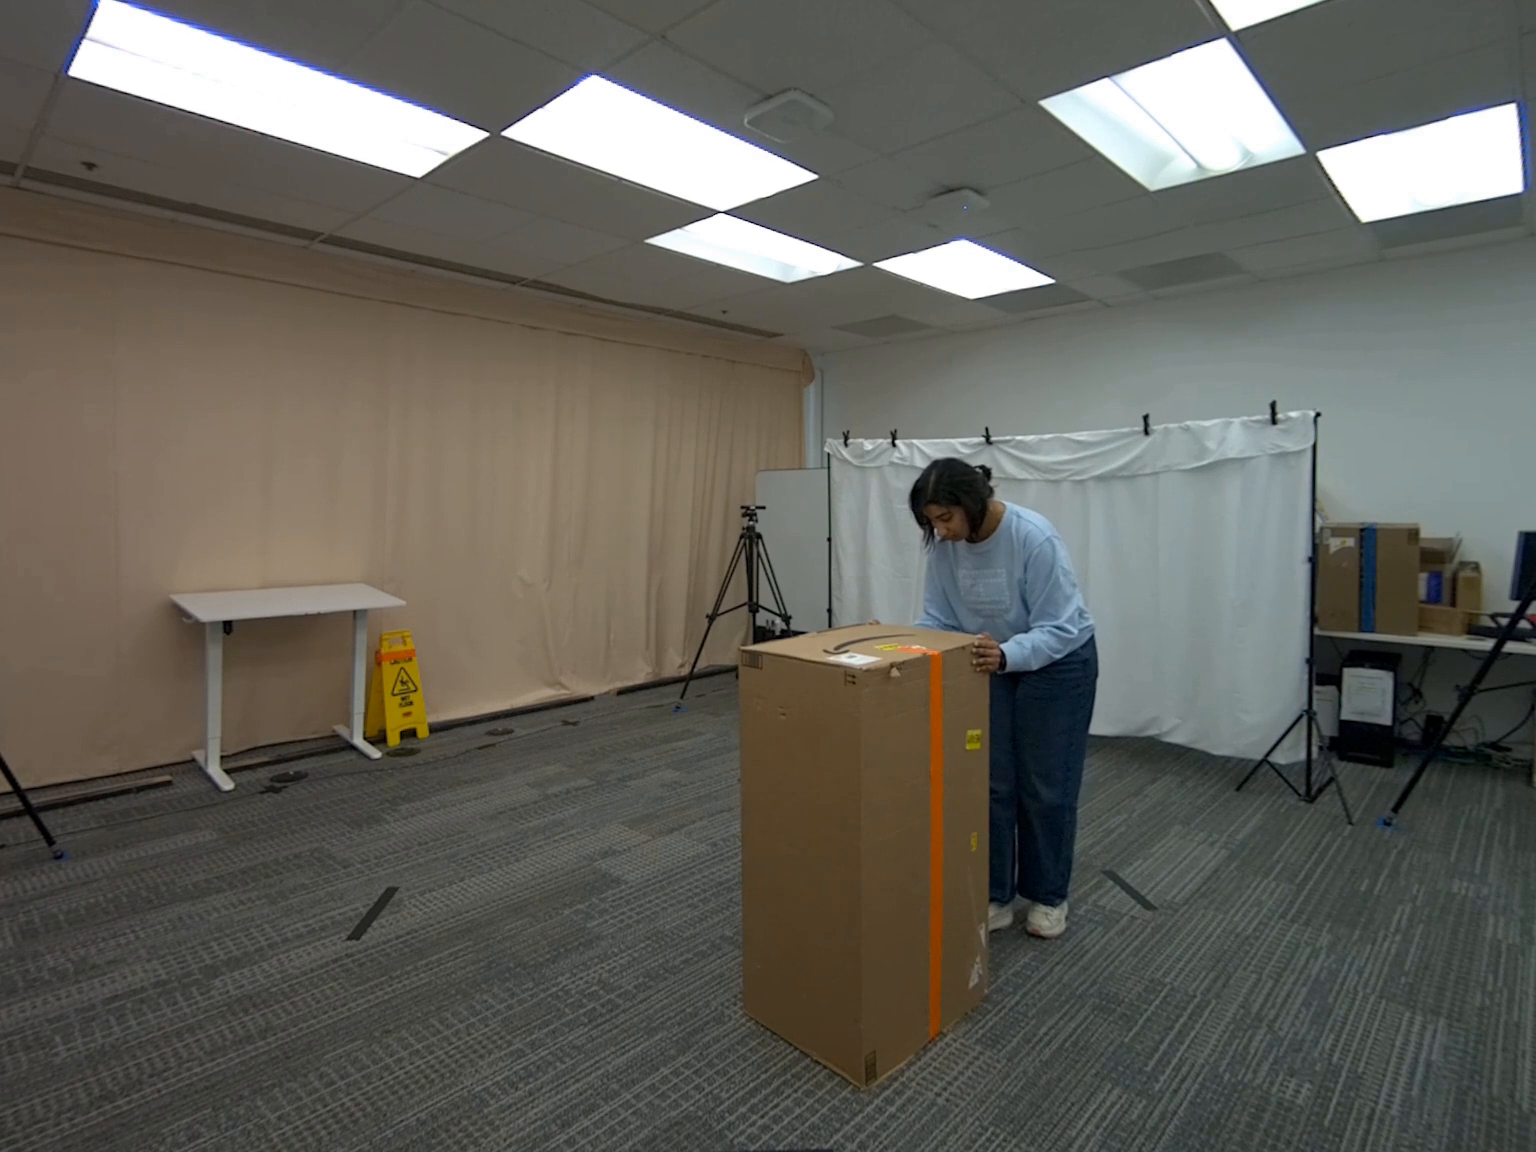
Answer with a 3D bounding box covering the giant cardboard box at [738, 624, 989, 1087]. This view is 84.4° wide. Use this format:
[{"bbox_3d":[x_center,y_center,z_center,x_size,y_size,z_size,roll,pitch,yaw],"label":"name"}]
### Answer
[{"bbox_3d":[0.278,0.696,2.314,0.560,1.023,0.440,-4,5,-44],"label":"giant cardboard box"}]
